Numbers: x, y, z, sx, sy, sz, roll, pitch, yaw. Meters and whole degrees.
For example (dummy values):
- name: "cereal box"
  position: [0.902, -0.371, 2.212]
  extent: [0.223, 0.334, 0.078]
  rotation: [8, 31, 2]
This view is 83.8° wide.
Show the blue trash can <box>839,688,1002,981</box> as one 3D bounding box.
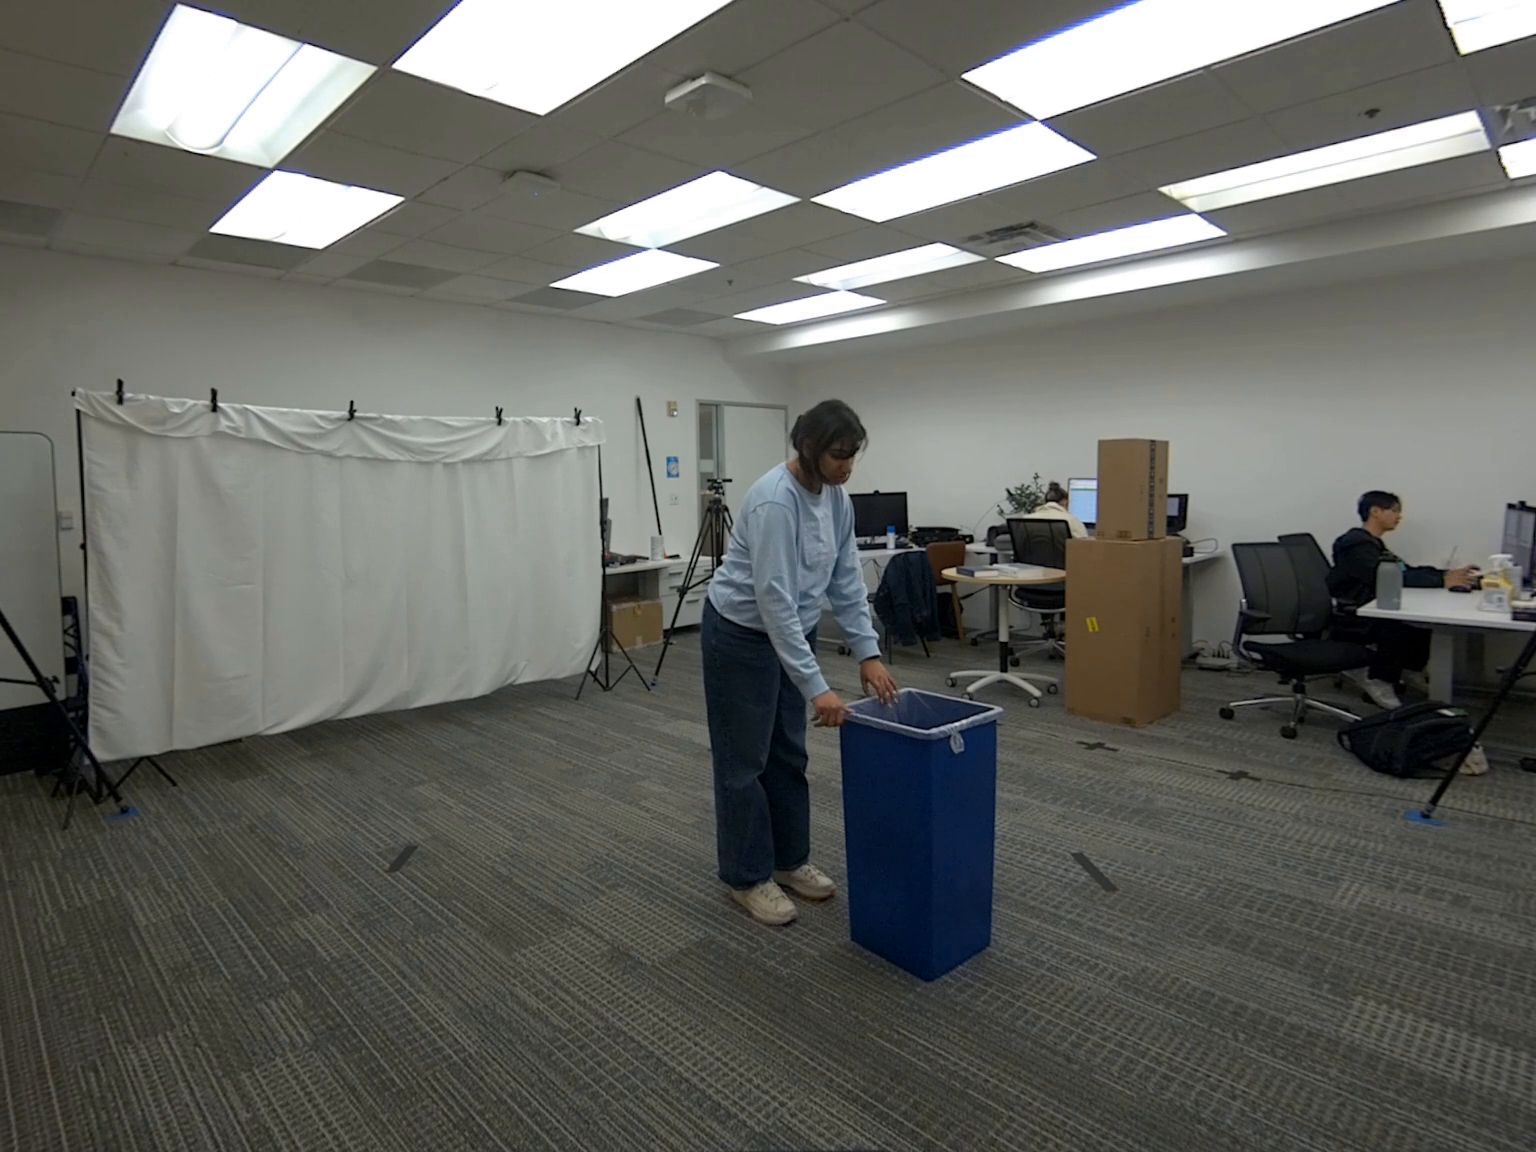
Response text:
- name: "blue trash can"
  position: [0.447, 0.745, 2.545]
  extent: [0.368, 0.711, 0.385]
  rotation: [-5, 5, -41]
